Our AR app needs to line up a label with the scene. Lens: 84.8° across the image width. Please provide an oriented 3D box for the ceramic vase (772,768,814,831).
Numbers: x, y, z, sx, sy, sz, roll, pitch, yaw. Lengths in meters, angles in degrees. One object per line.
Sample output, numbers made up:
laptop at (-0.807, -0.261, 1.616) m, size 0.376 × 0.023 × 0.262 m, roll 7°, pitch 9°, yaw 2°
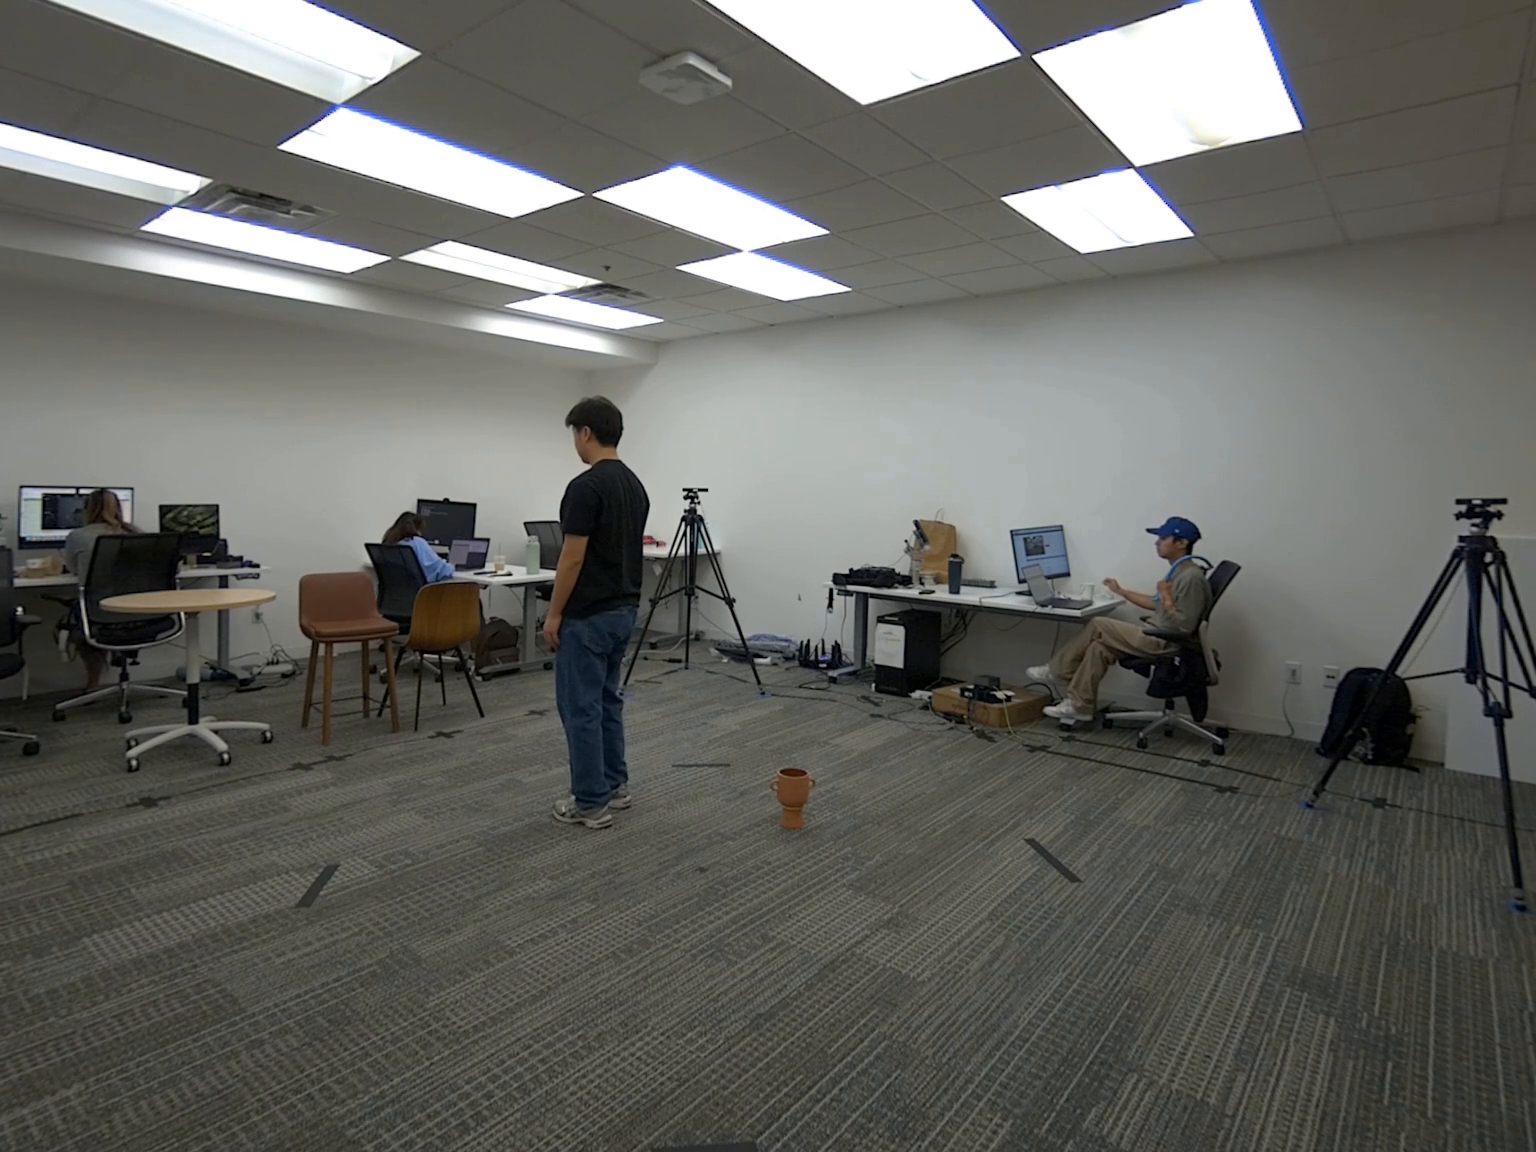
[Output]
ceramic vase at (0.092, 0.919, 3.545) m, size 0.163 × 0.219 × 0.132 m, roll 2°, pitch 5°, yaw 24°
